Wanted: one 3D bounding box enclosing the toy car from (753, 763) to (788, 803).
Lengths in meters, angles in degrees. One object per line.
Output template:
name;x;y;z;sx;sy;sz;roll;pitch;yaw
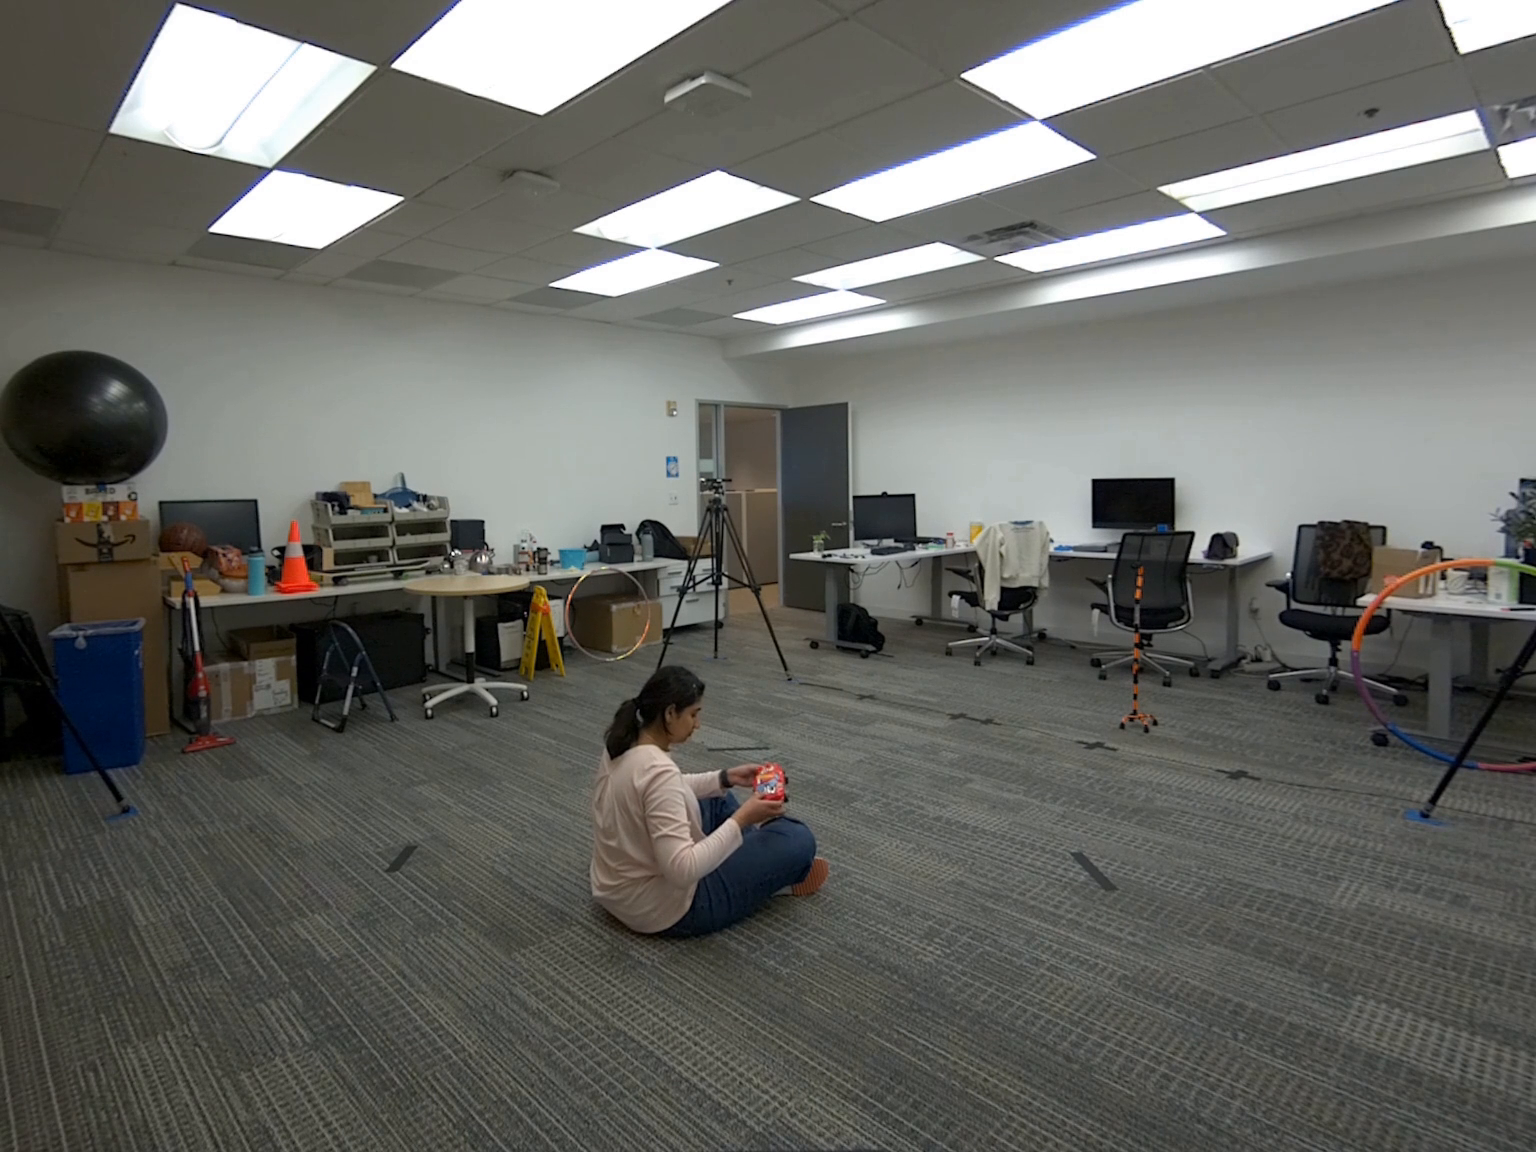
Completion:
toy car;0.001;0.693;2.799;0.131;0.082;0.258;-21;17;6
